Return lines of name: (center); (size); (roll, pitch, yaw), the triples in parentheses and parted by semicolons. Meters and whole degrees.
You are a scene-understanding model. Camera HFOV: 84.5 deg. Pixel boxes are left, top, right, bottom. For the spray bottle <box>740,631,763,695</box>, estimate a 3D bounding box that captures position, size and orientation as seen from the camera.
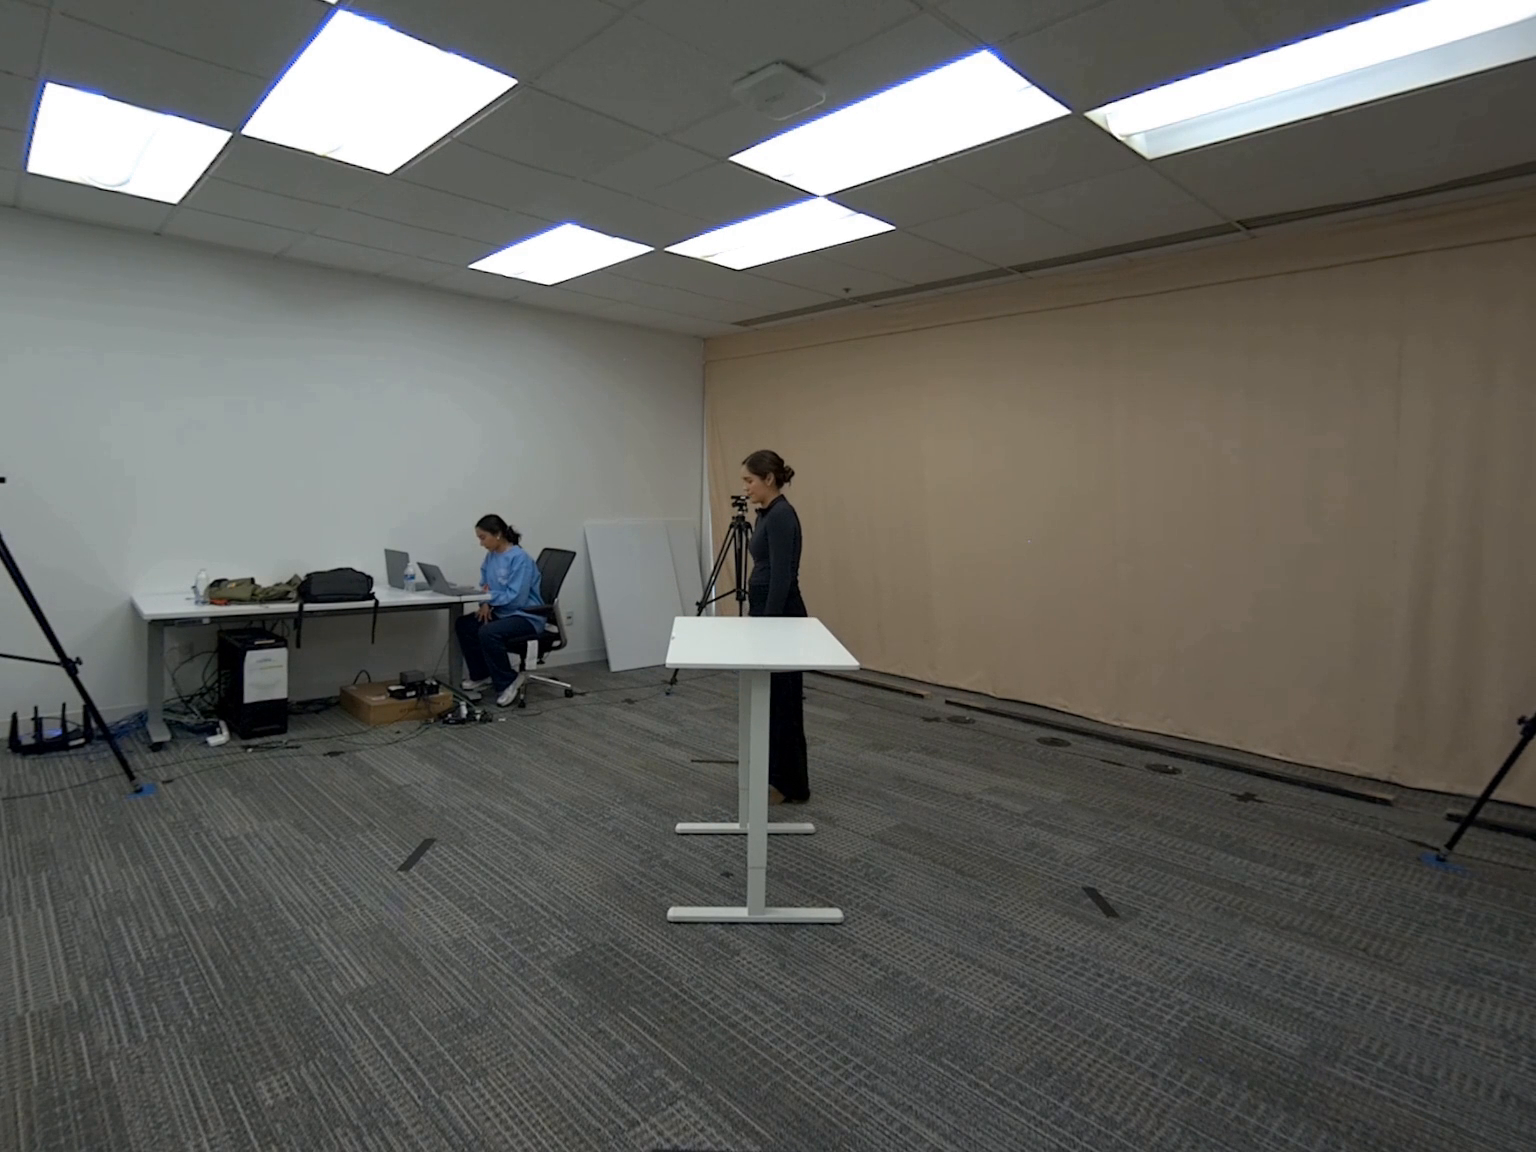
spray bottle: (-0.084, 0.429, 4.208); (0.090, 0.297, 0.086); (-1, 3, 8)
